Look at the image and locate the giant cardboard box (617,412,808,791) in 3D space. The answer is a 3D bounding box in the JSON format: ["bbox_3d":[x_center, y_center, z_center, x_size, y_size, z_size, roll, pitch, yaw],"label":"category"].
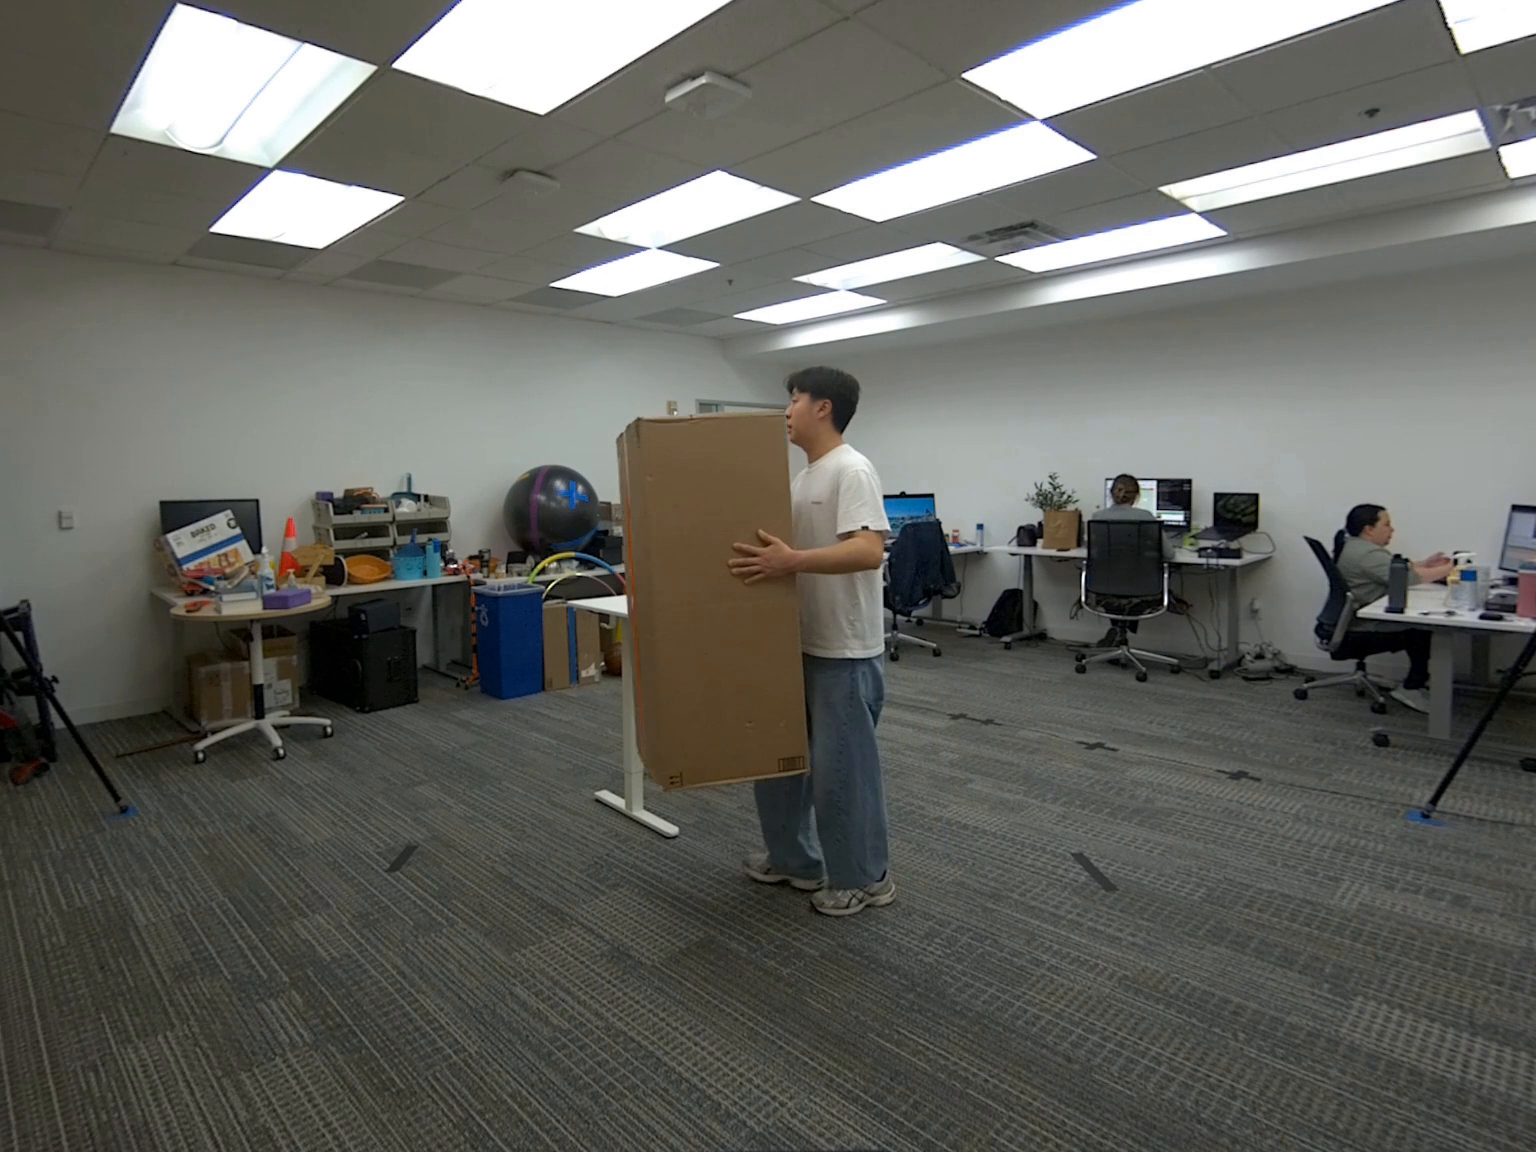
[{"bbox_3d":[-0.199,0.052,2.636,0.421,1.026,0.584,-4,0,-14],"label":"giant cardboard box"}]
